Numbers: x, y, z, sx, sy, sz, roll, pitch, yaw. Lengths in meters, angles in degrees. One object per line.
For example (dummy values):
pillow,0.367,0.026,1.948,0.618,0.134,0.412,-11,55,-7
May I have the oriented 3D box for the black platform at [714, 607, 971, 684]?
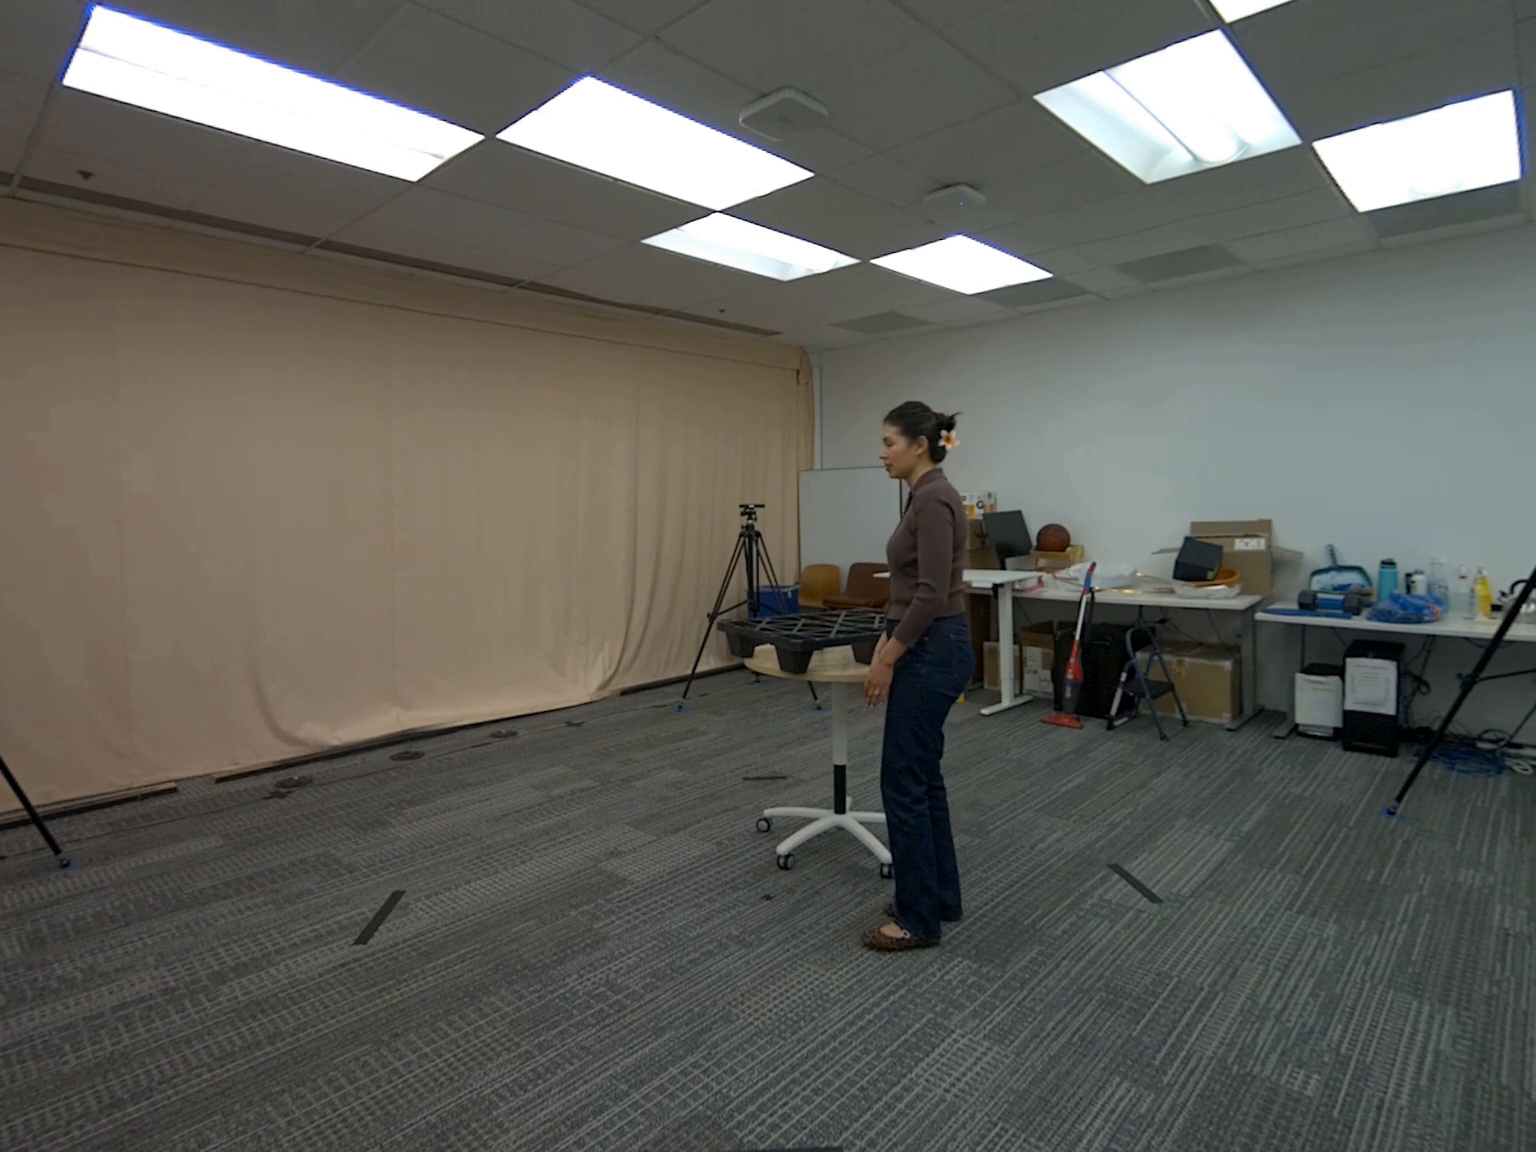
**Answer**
black platform,0.282,0.253,3.371,0.784,0.143,0.623,-3,6,-30
